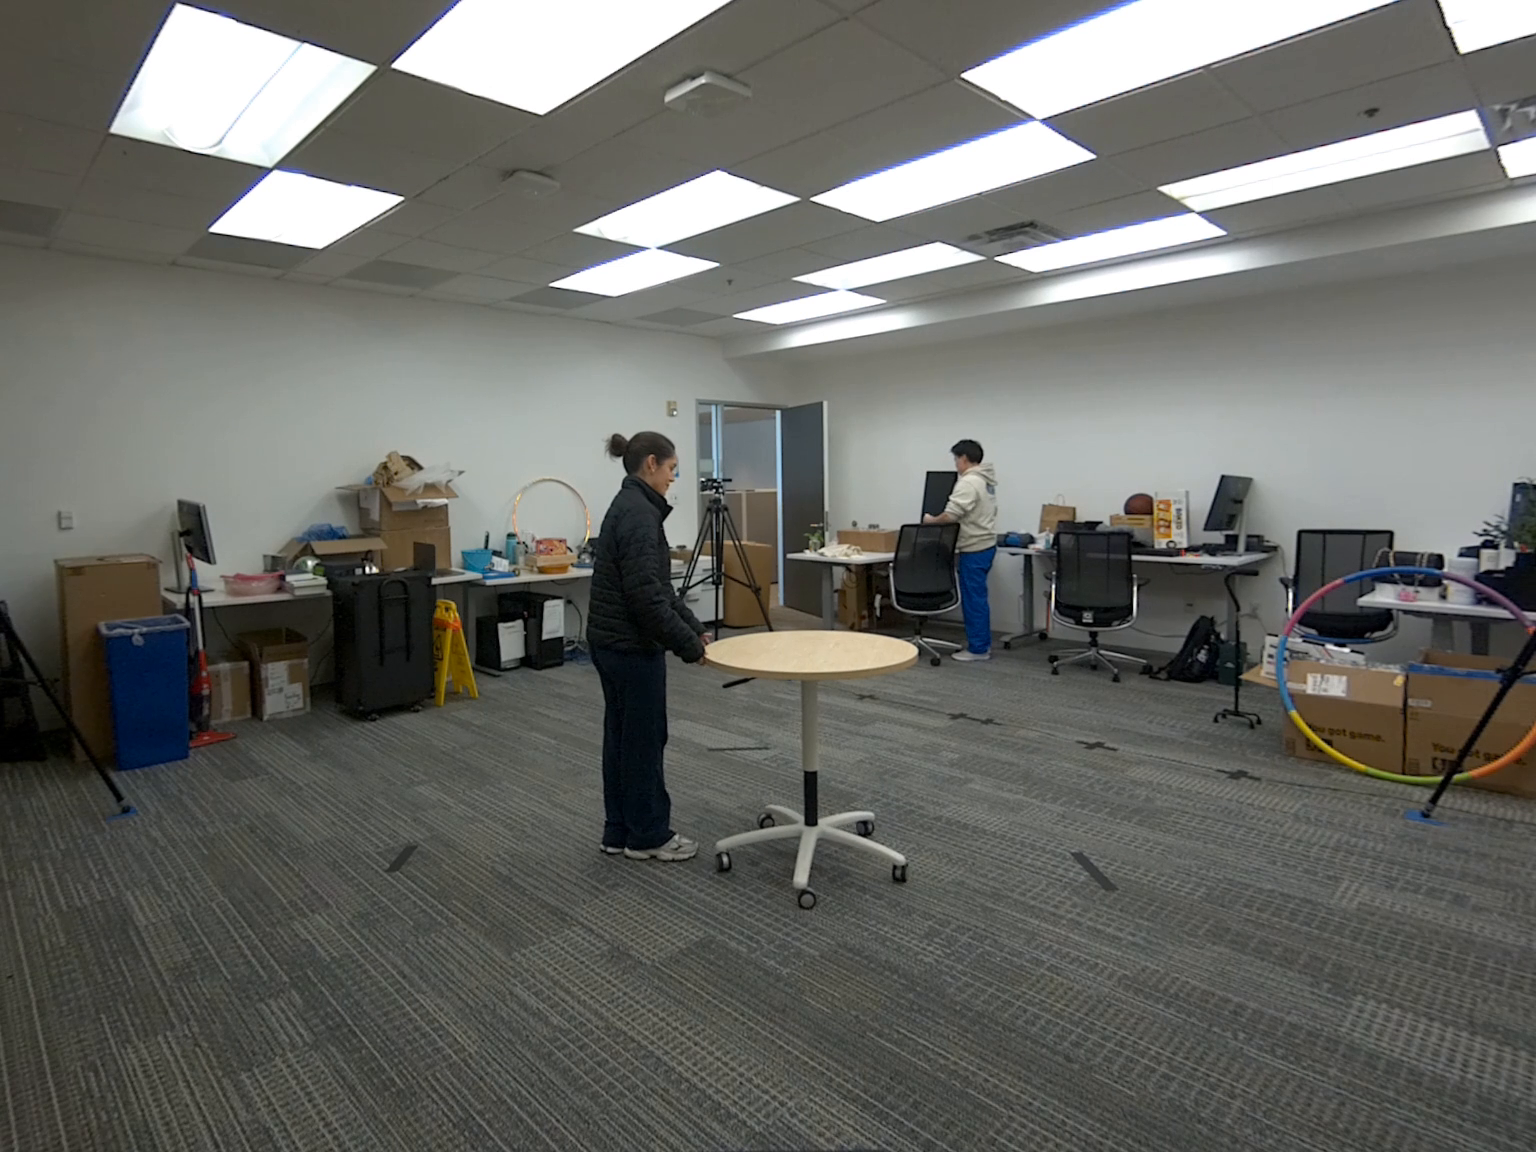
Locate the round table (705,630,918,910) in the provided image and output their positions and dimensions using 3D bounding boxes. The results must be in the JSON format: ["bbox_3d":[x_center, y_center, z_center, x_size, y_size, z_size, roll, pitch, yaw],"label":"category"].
[{"bbox_3d":[0.149,0.644,3.103,0.784,0.783,0.789,-2,5,-2],"label":"round table"}]
